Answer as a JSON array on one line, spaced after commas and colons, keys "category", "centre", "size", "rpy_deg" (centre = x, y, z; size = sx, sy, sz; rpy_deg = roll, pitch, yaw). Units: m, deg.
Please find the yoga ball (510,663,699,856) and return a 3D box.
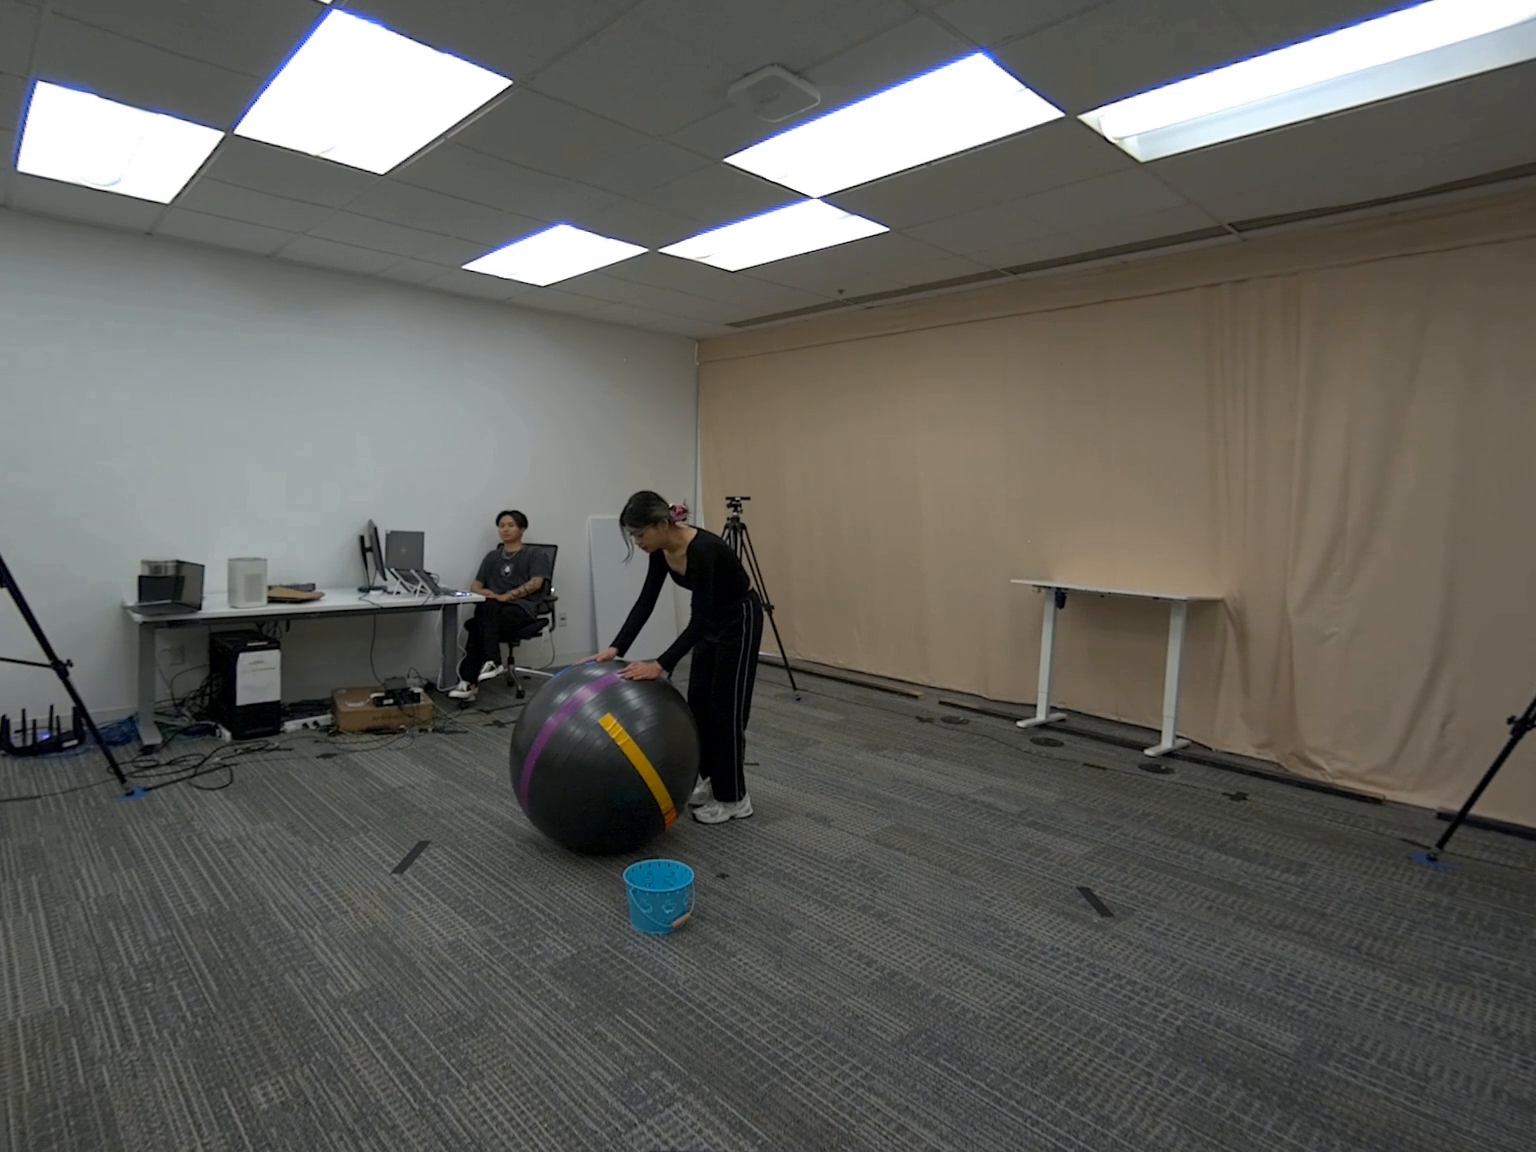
[{"category": "yoga ball", "centre": [-0.653, 0.712, 3.364], "size": [0.757, 0.756, 0.761], "rpy_deg": [1, 4, -1]}]
